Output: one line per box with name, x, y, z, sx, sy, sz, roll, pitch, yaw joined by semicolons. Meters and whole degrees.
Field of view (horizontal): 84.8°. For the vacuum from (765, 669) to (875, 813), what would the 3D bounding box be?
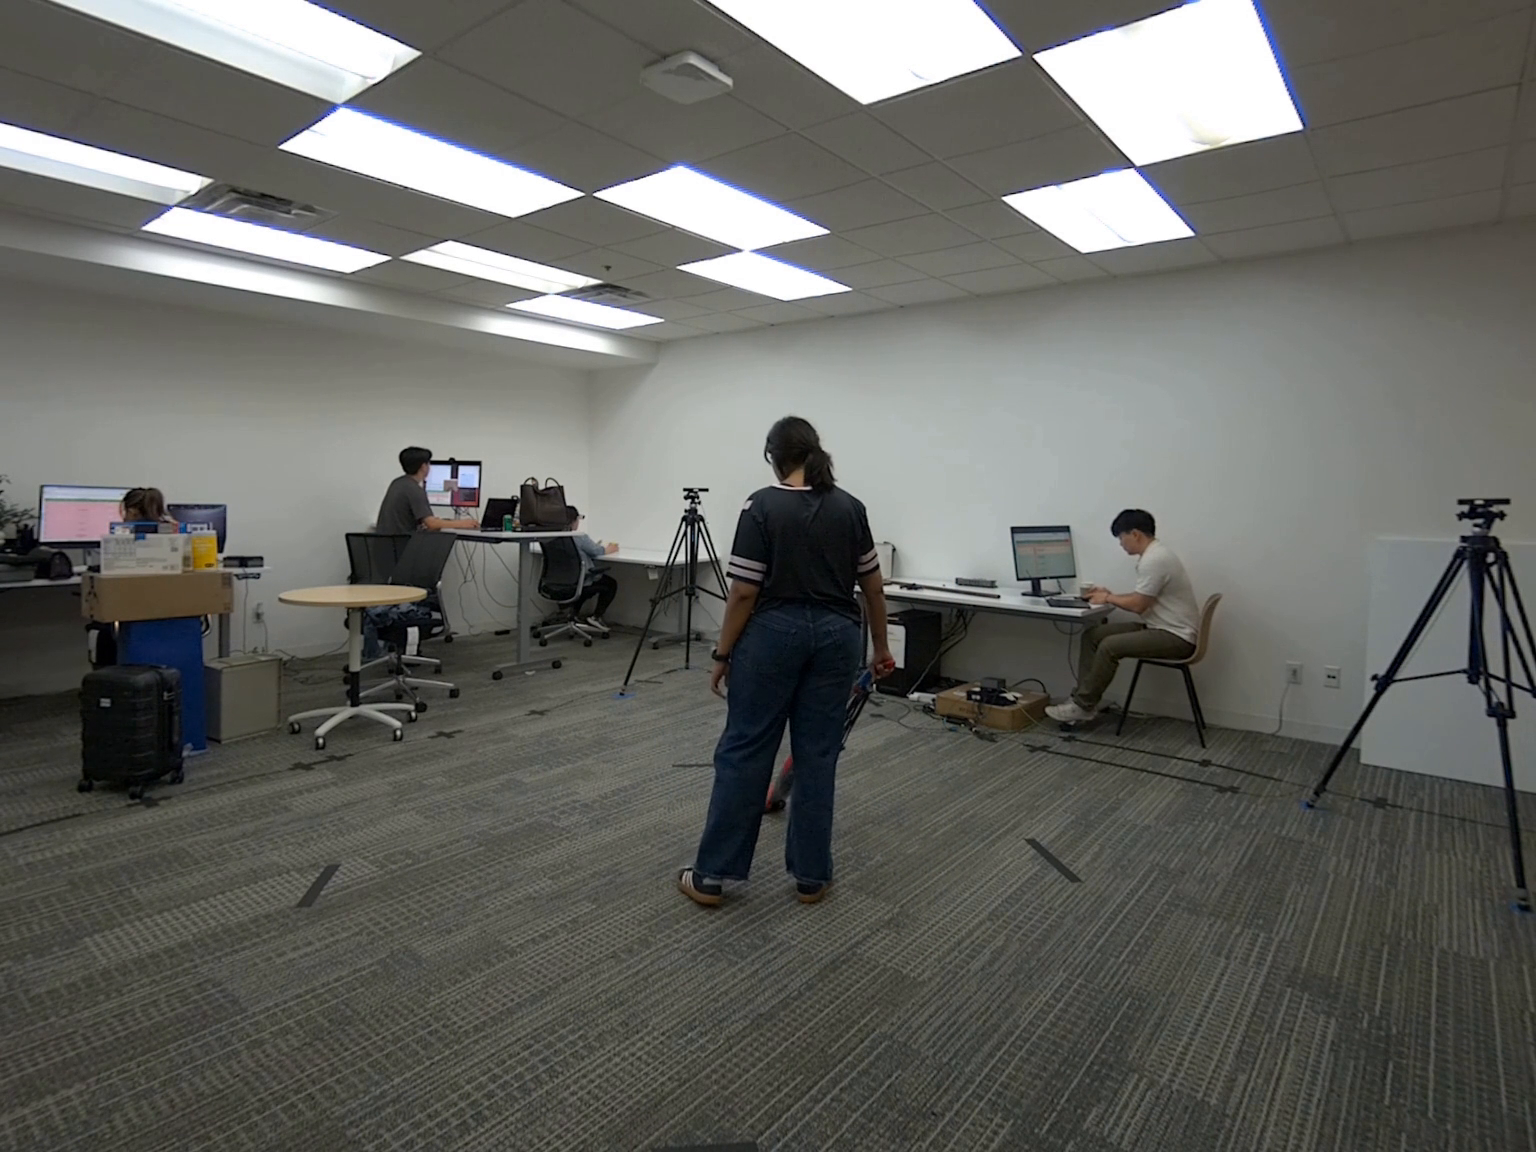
vacuum;0.202;0.653;3.409;0.245;0.149;1.043;-4;-36;-37
